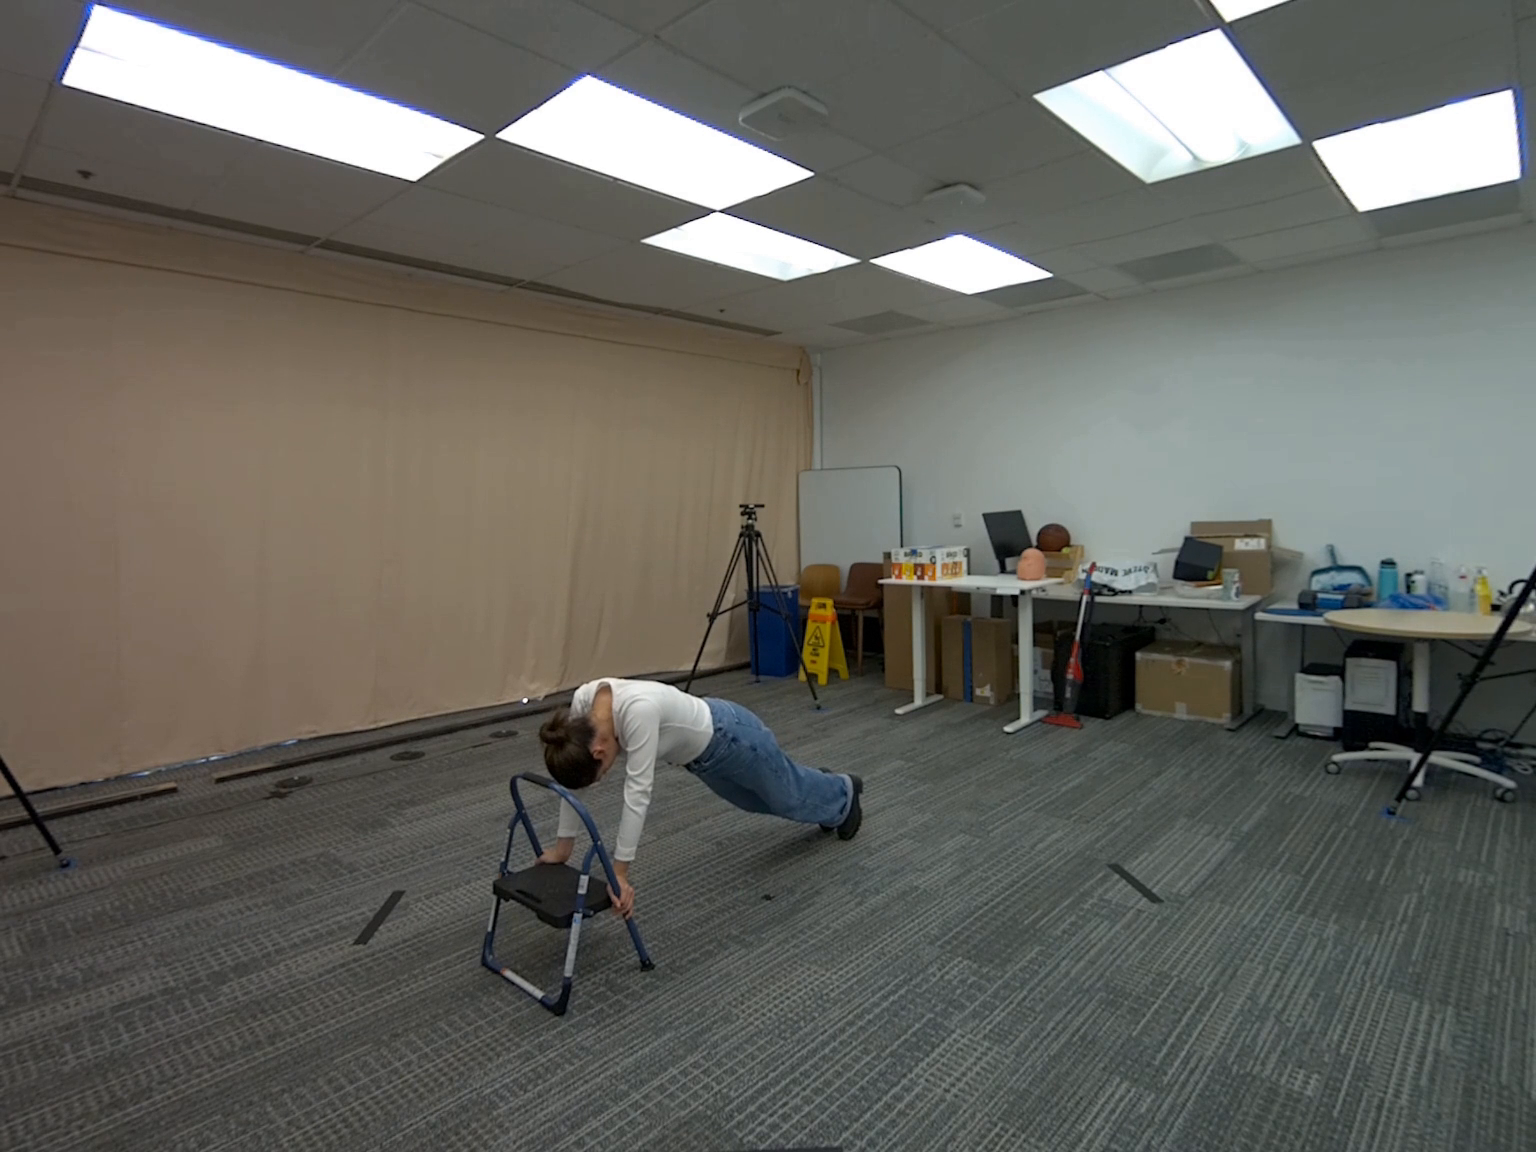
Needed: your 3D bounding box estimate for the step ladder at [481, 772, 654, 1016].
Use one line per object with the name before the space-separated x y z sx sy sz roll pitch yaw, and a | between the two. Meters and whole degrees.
step ladder | -0.623 0.892 2.547 0.445 0.605 0.339 2 4 41
